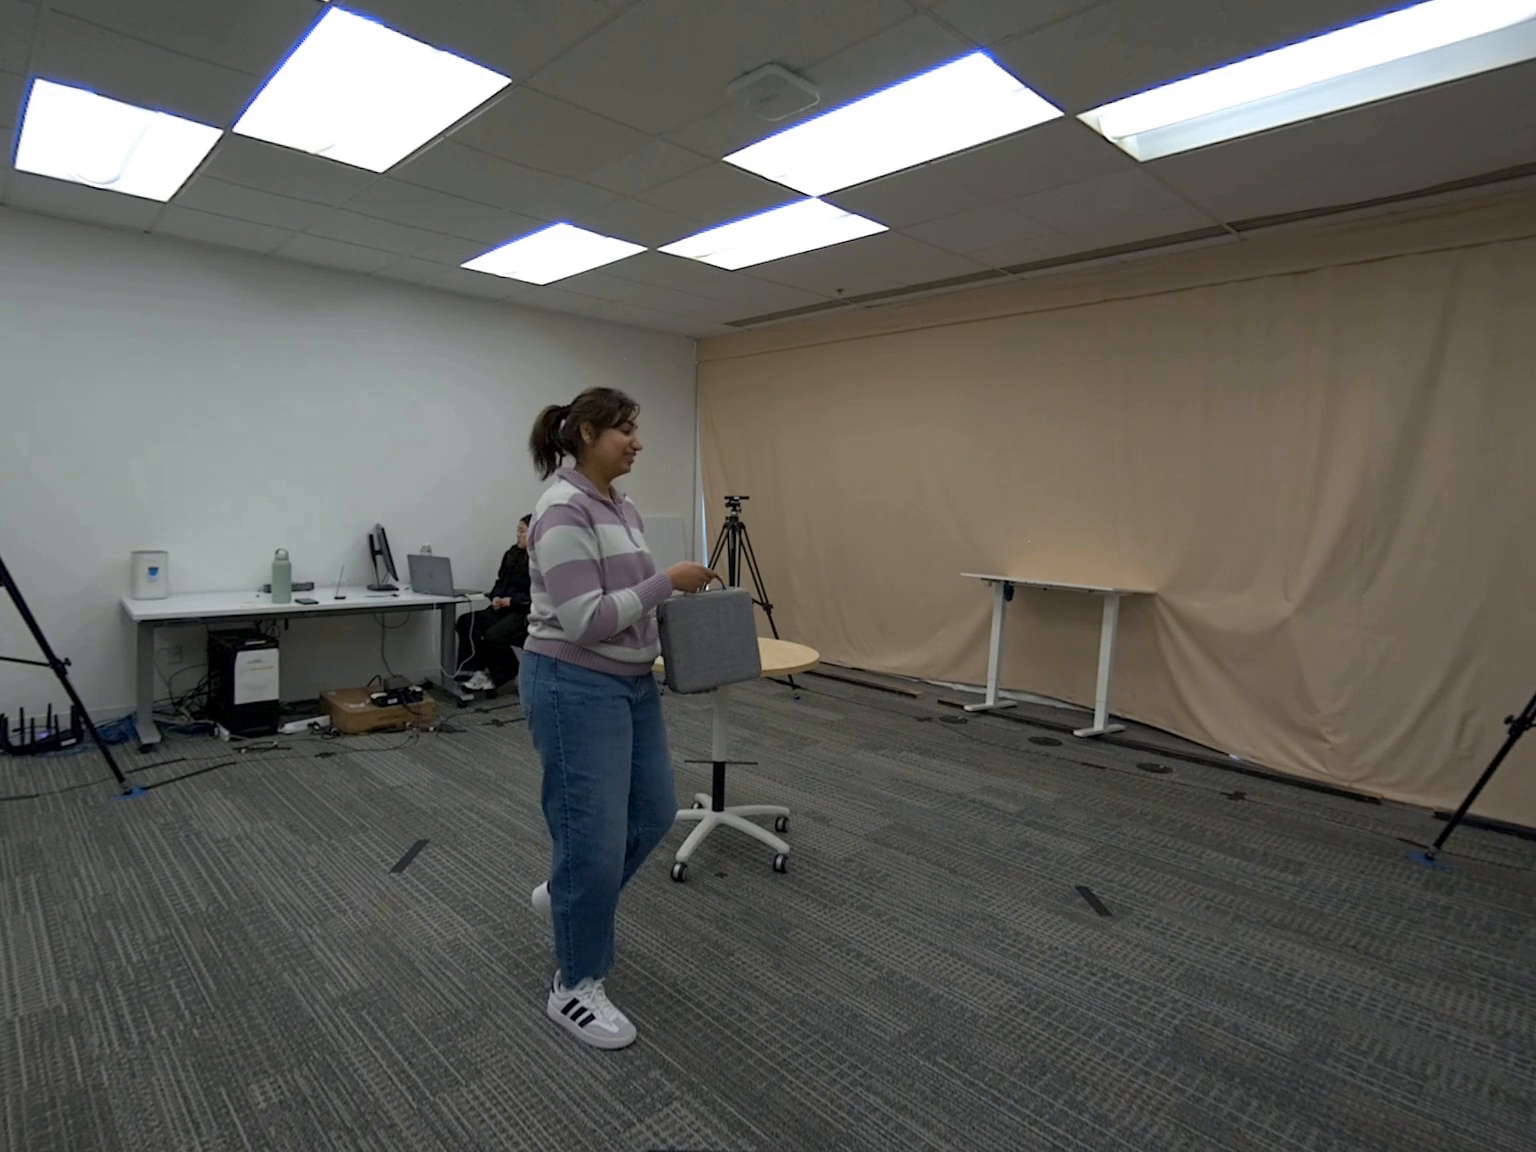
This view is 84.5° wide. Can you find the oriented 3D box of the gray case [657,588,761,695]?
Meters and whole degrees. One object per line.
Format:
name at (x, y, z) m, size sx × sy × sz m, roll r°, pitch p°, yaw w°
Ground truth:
gray case at (-0.161, 0.163, 2.254) m, size 0.253 × 0.261 × 0.105 m, roll -8°, pitch 0°, yaw -20°
